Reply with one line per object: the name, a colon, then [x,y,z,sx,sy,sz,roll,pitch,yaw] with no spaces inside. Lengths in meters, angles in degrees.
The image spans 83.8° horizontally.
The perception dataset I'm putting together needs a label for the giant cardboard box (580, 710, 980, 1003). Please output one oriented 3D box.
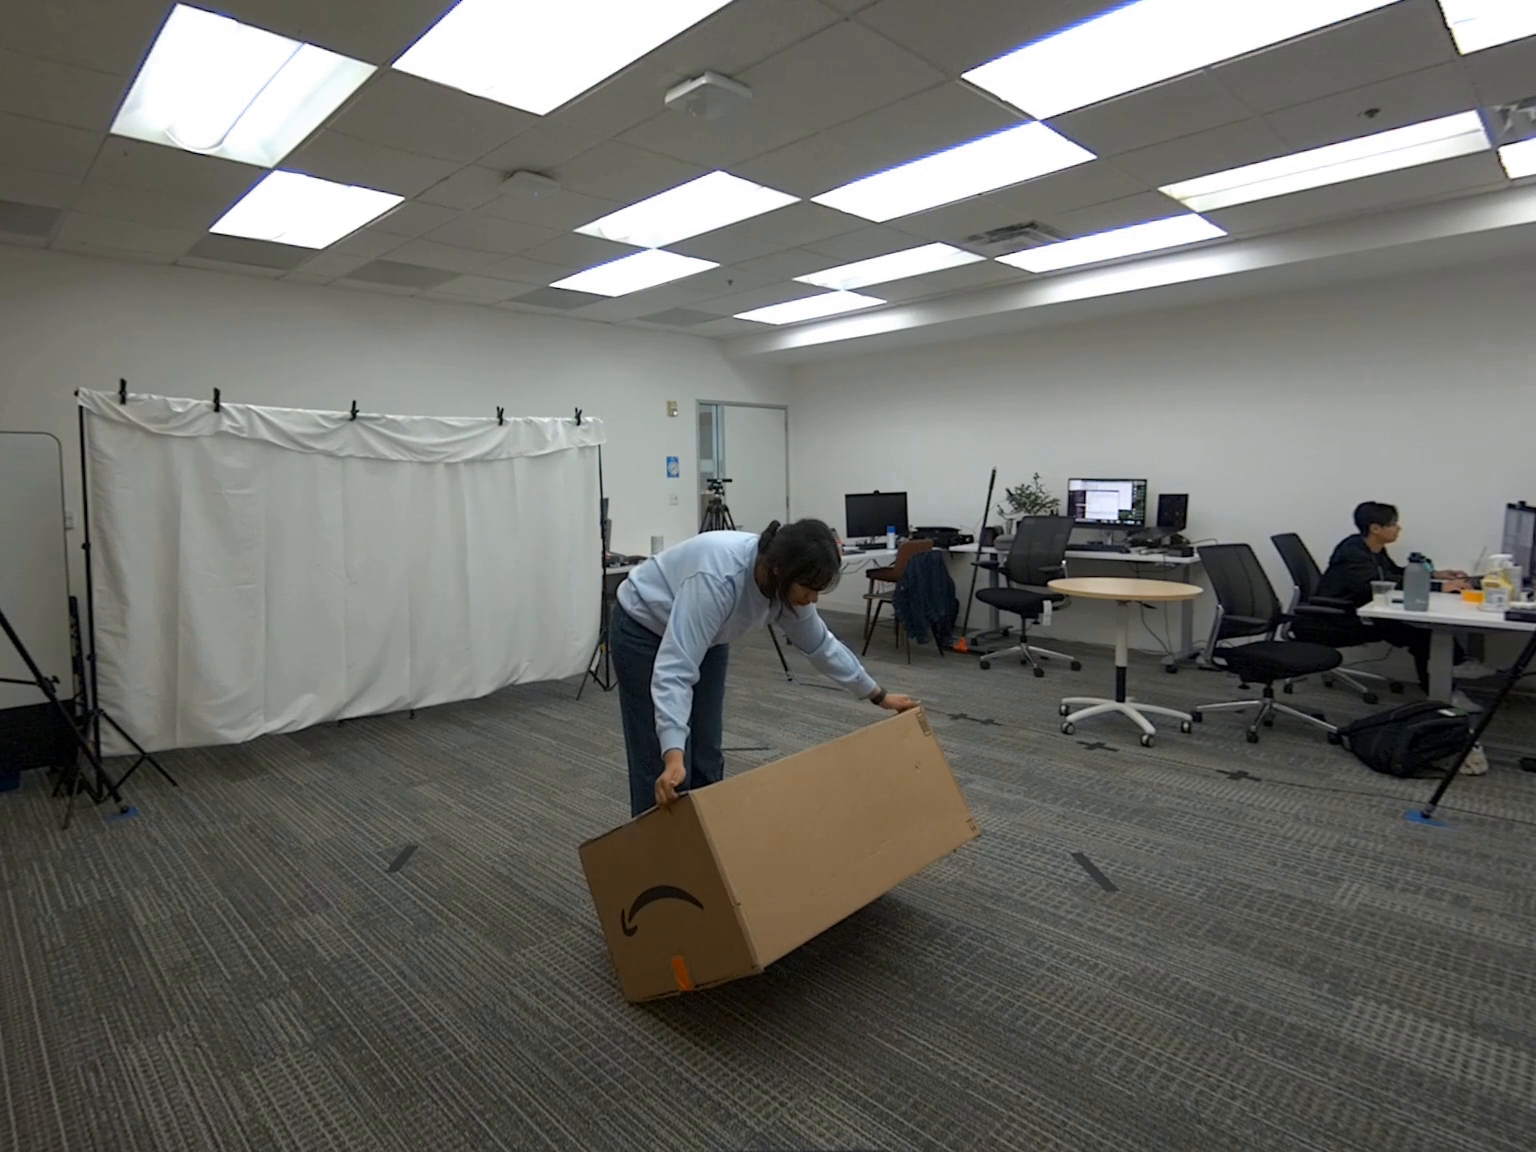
giant cardboard box: [0.060,0.785,2.528,0.999,0.435,0.581,-7,-22,-46]
